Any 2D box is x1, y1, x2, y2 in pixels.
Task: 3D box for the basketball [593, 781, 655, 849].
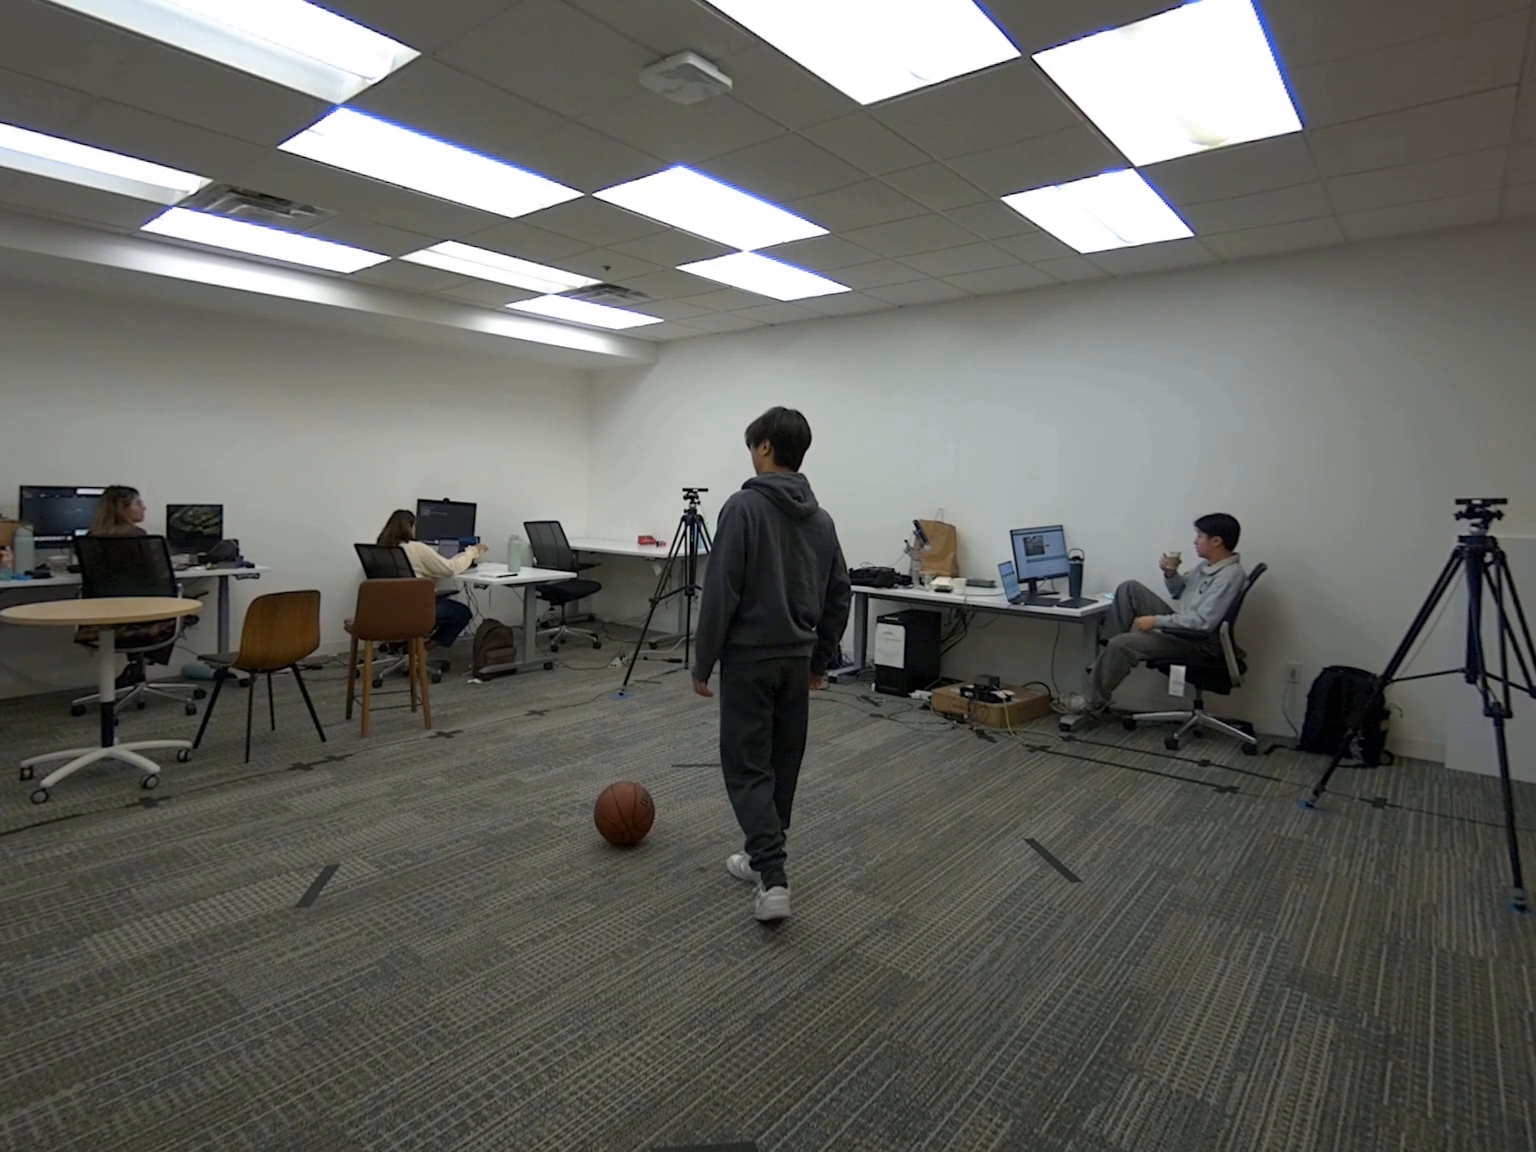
[{"bbox_3d":[-0.570,0.921,3.324,0.235,0.235,0.237,1,4,-2],"label":"basketball"}]
